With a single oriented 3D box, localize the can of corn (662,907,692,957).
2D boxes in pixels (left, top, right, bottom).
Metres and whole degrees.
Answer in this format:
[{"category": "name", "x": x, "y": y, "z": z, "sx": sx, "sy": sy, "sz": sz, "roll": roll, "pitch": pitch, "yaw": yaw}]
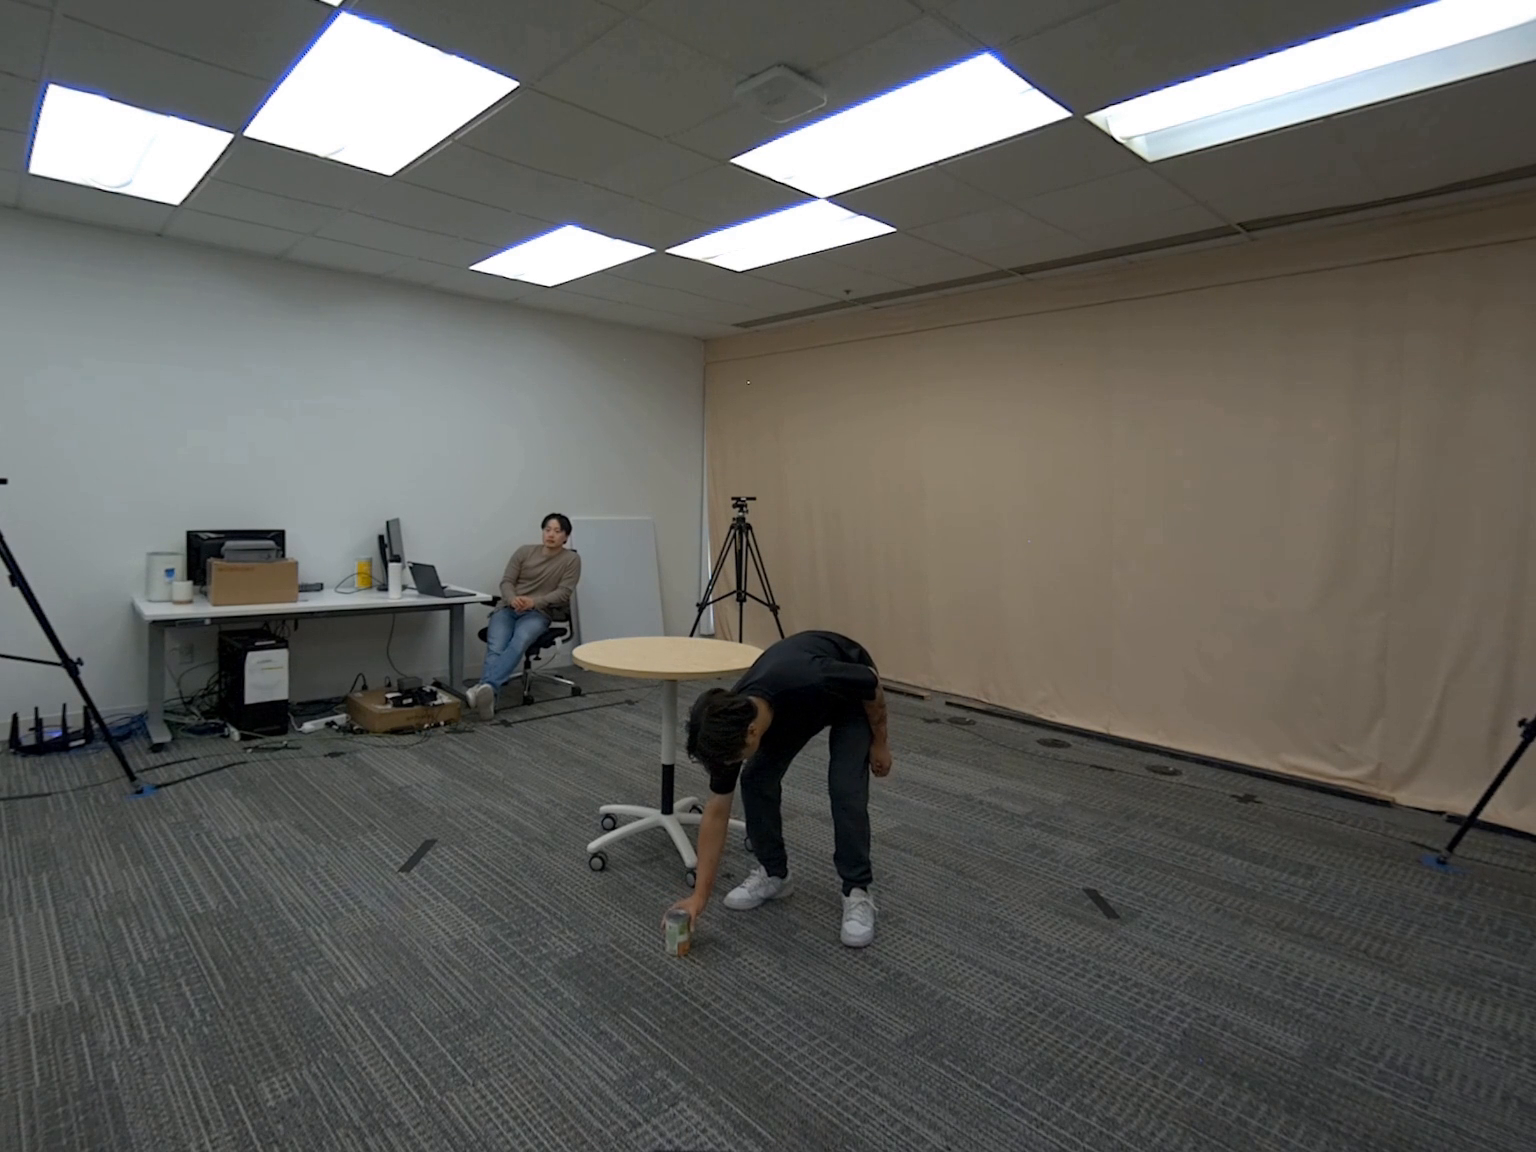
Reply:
[{"category": "can of corn", "x": -0.284, "y": 1.100, "z": 2.574, "sx": 0.074, "sy": 0.110, "sz": 0.074, "roll": 2, "pitch": 6, "yaw": -2}]
